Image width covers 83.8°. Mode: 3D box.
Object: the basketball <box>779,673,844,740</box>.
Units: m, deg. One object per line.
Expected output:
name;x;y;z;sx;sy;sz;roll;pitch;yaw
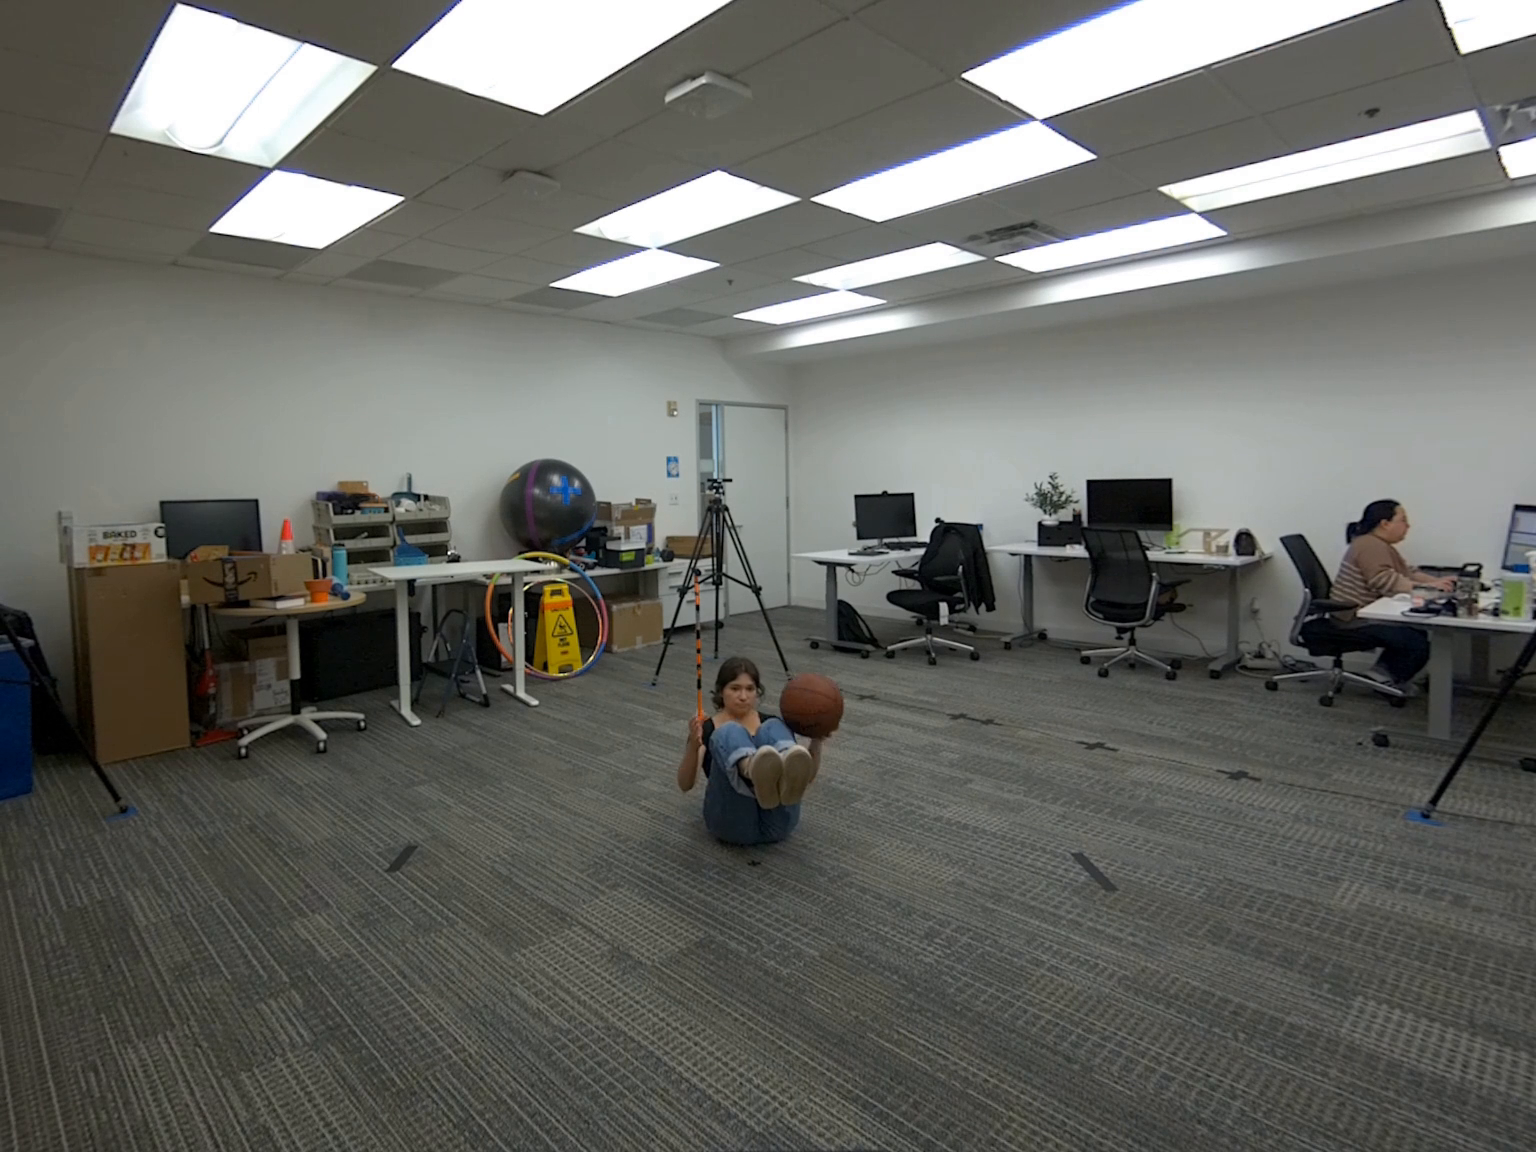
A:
basketball;0.150;0.492;3.182;0.236;0.235;0.237;-1;5;-2
